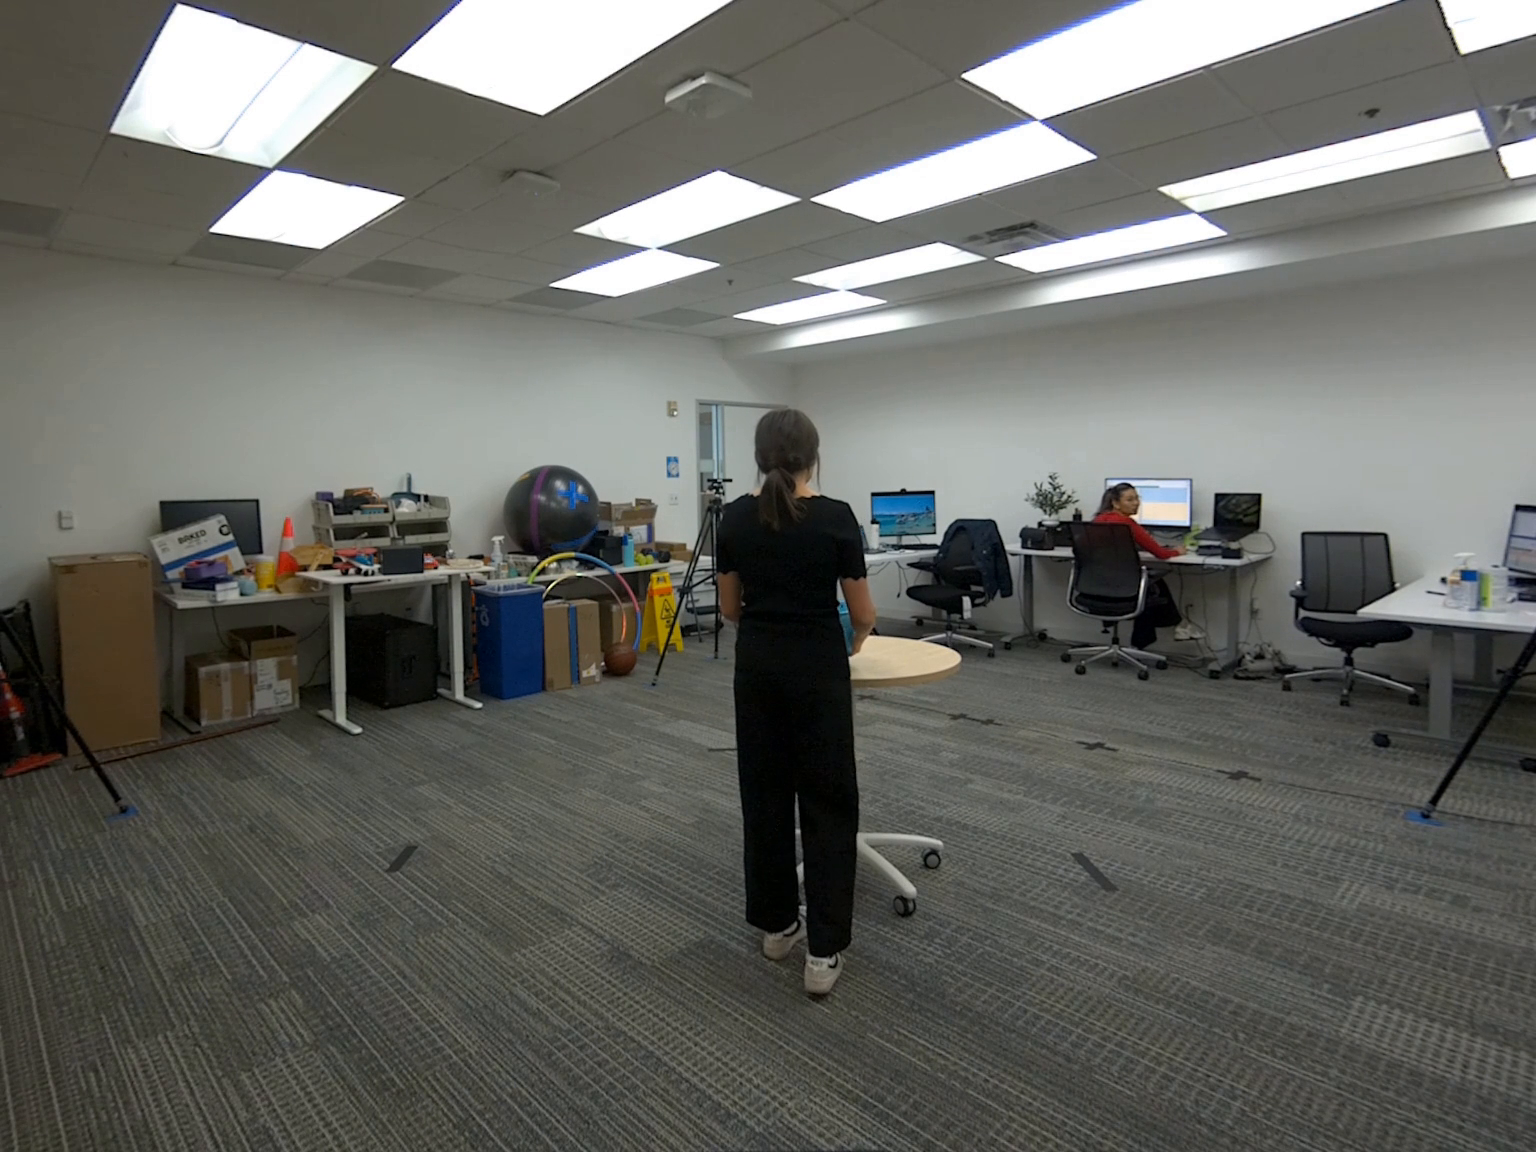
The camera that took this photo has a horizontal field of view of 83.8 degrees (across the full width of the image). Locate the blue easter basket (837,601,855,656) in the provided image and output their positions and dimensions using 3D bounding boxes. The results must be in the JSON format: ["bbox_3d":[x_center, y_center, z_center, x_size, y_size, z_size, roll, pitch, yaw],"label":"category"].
[{"bbox_3d":[0.211,0.182,2.779,0.243,0.155,0.245,-5,7,-1],"label":"blue easter basket"}]
